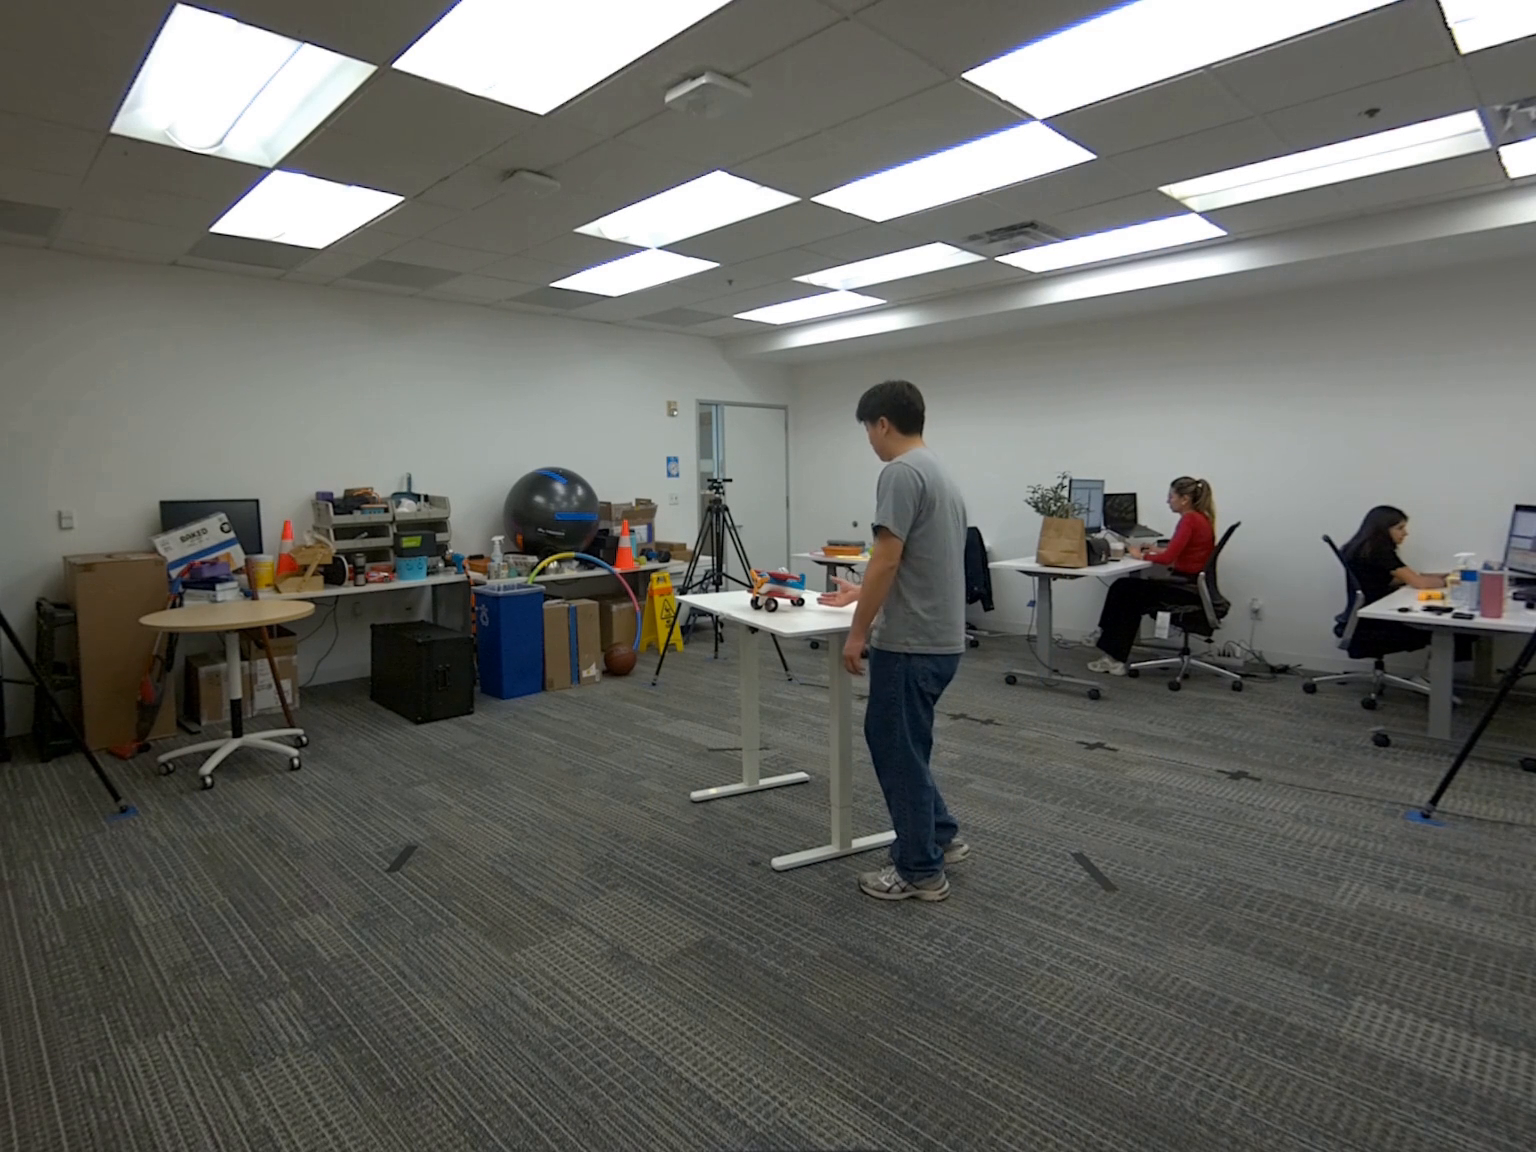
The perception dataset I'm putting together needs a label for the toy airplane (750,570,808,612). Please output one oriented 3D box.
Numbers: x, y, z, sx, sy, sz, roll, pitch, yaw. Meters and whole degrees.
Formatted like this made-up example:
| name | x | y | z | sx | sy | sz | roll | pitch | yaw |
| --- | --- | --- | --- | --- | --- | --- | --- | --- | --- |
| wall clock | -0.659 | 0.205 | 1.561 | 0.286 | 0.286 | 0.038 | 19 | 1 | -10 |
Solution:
| name | x | y | z | sx | sy | sz | roll | pitch | yaw |
| --- | --- | --- | --- | --- | --- | --- | --- | --- | --- |
| toy airplane | 0.043 | 0.050 | 3.399 | 0.256 | 0.155 | 0.255 | 2 | 8 | 22 |
